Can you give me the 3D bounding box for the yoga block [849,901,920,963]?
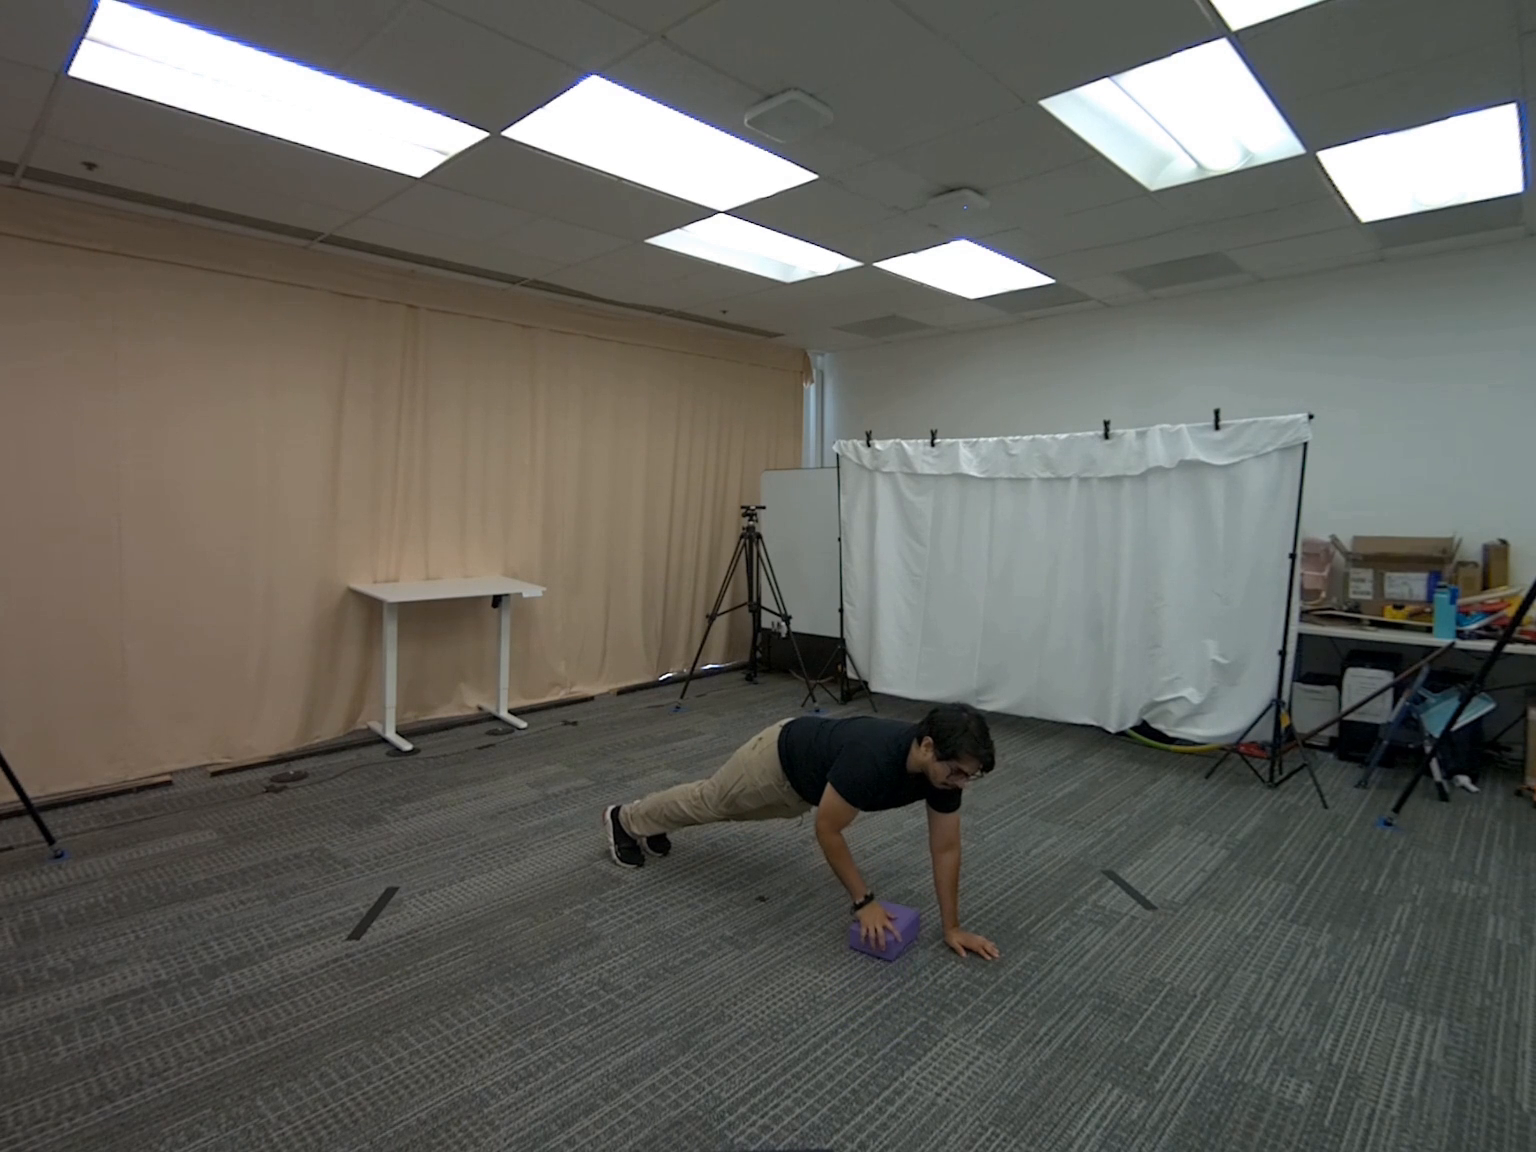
[{"bbox_3d":[0.379,1.128,2.682,0.154,0.076,0.223,5,8,36],"label":"yoga block"}]
